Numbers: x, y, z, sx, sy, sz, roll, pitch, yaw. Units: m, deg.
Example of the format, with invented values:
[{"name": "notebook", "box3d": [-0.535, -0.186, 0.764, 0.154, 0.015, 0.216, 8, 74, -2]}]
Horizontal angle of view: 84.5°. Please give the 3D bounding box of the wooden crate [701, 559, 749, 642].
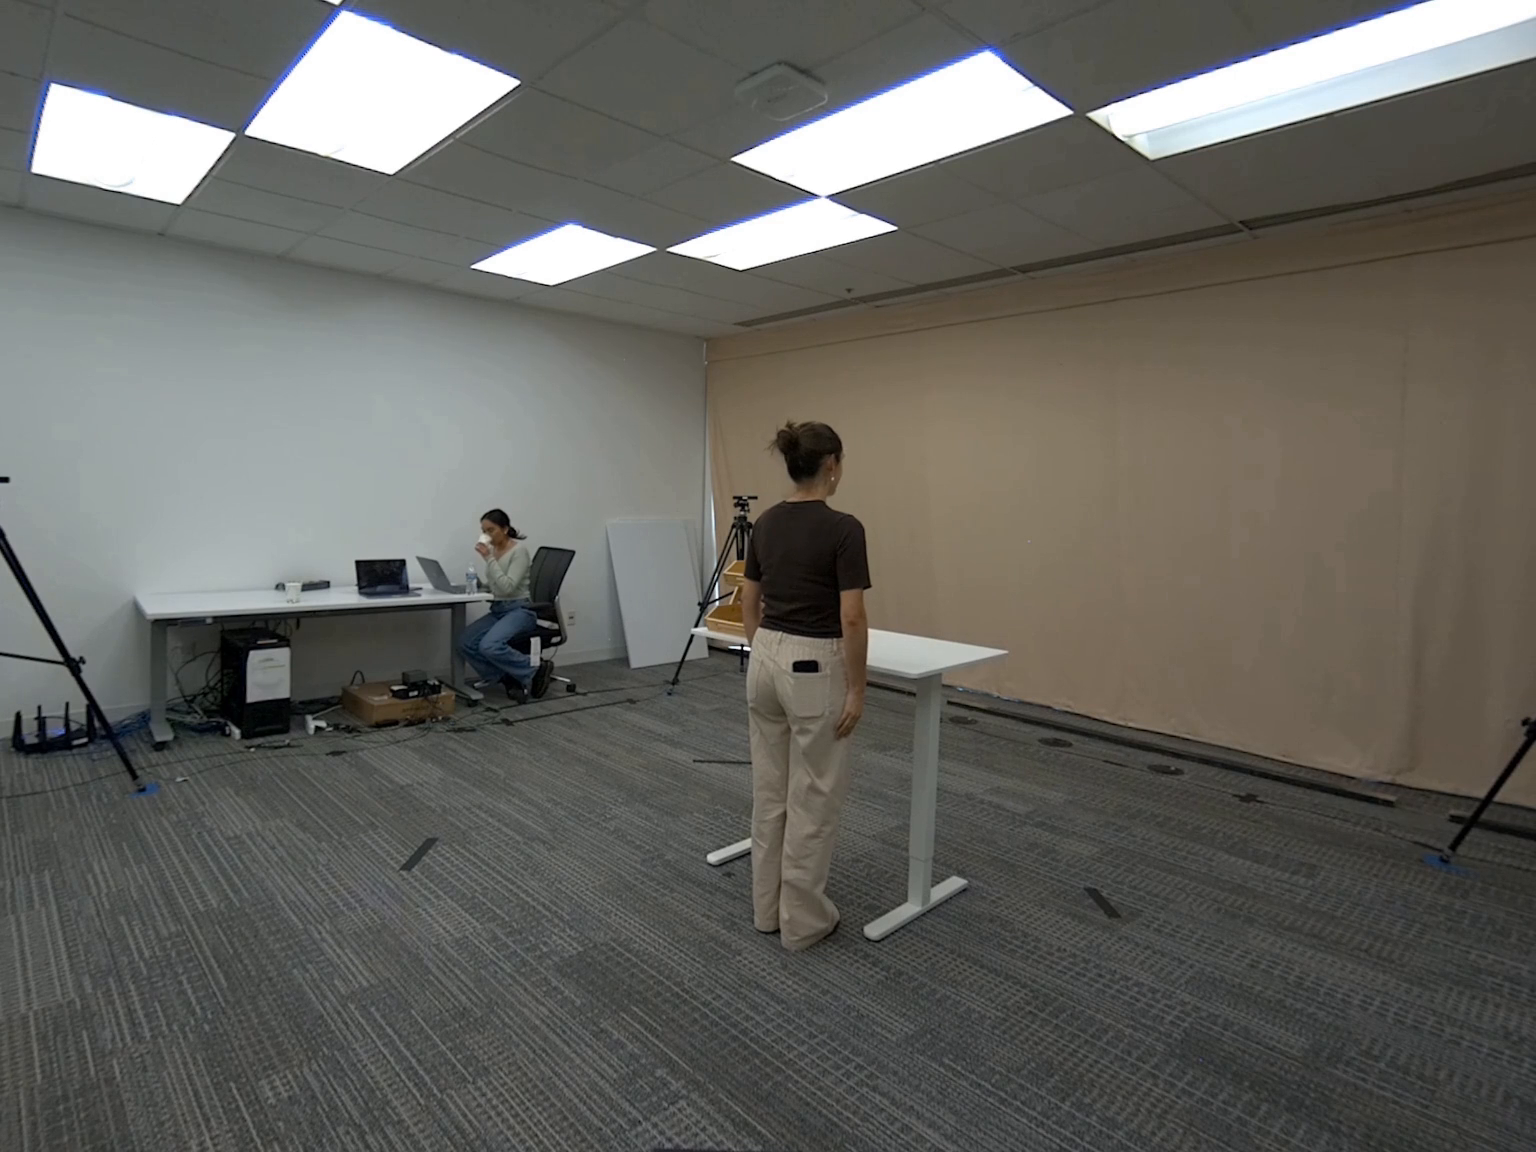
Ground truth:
[{"name": "wooden crate", "box3d": [-0.025, 0.085, 3.181, 0.295, 0.273, 0.333, -1, 5, -44]}]
